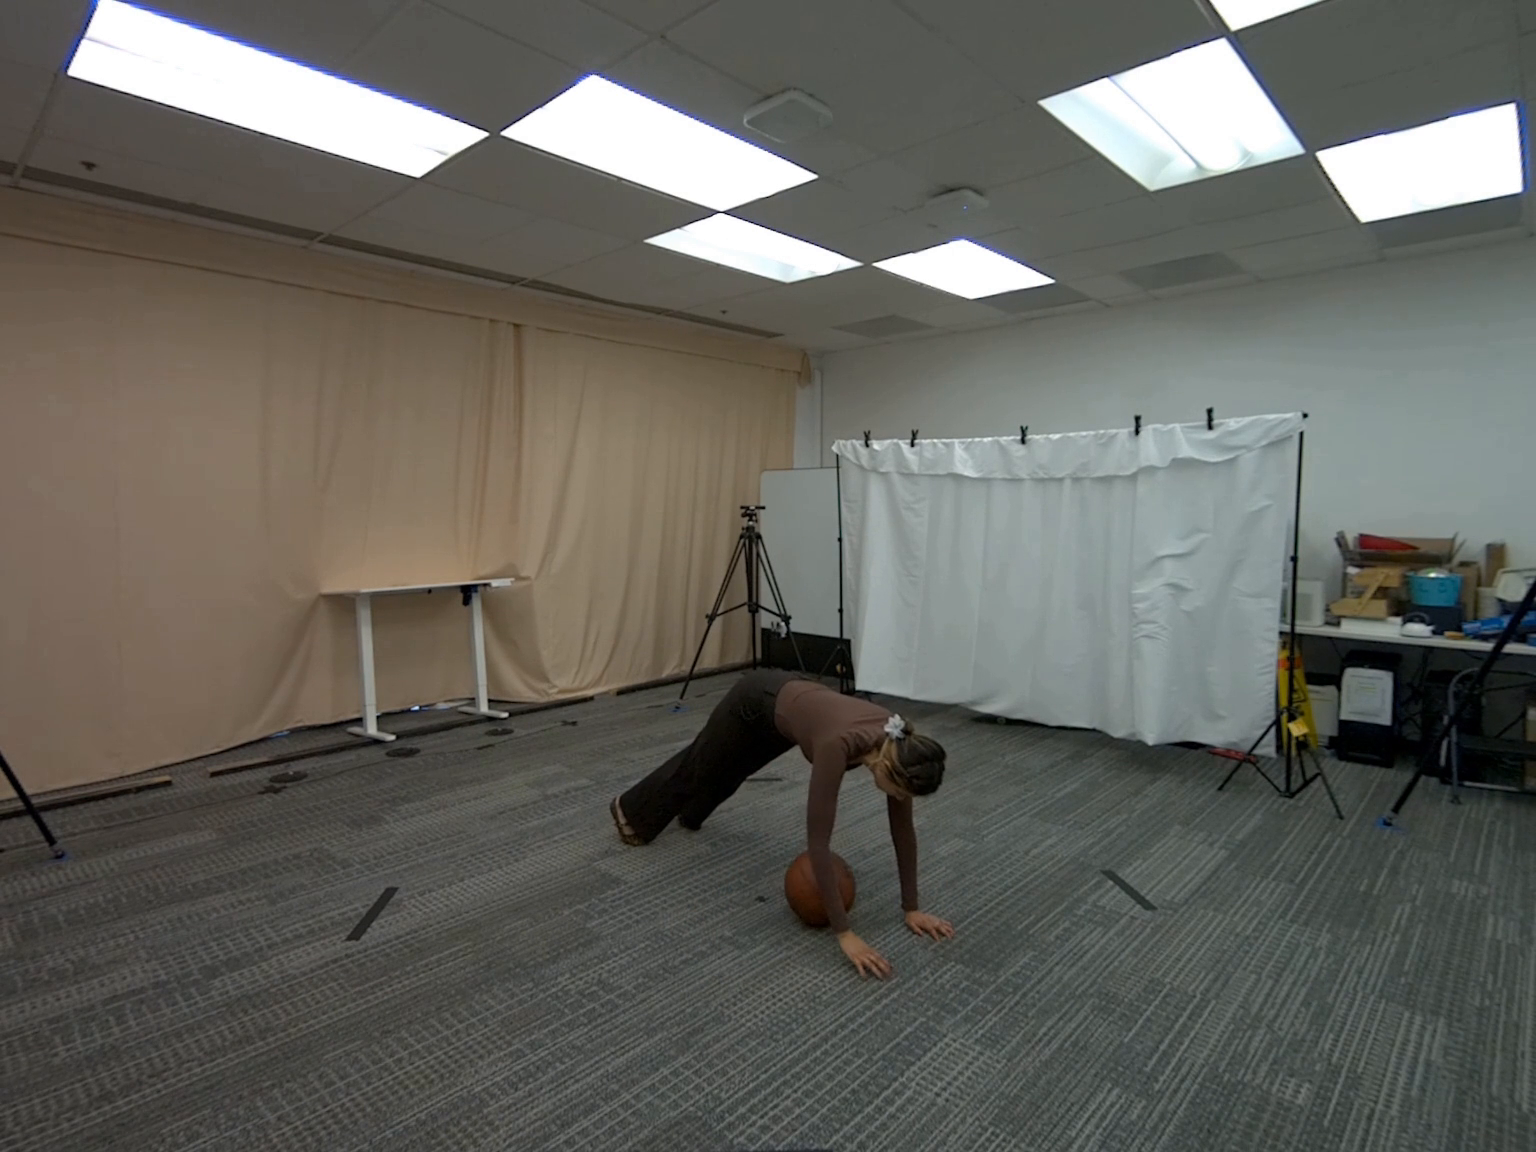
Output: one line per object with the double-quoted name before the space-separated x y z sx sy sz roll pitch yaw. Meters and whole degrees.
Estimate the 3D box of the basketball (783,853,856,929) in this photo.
"basketball" 0.177 1.038 2.820 0.236 0.235 0.237 0 4 -2
